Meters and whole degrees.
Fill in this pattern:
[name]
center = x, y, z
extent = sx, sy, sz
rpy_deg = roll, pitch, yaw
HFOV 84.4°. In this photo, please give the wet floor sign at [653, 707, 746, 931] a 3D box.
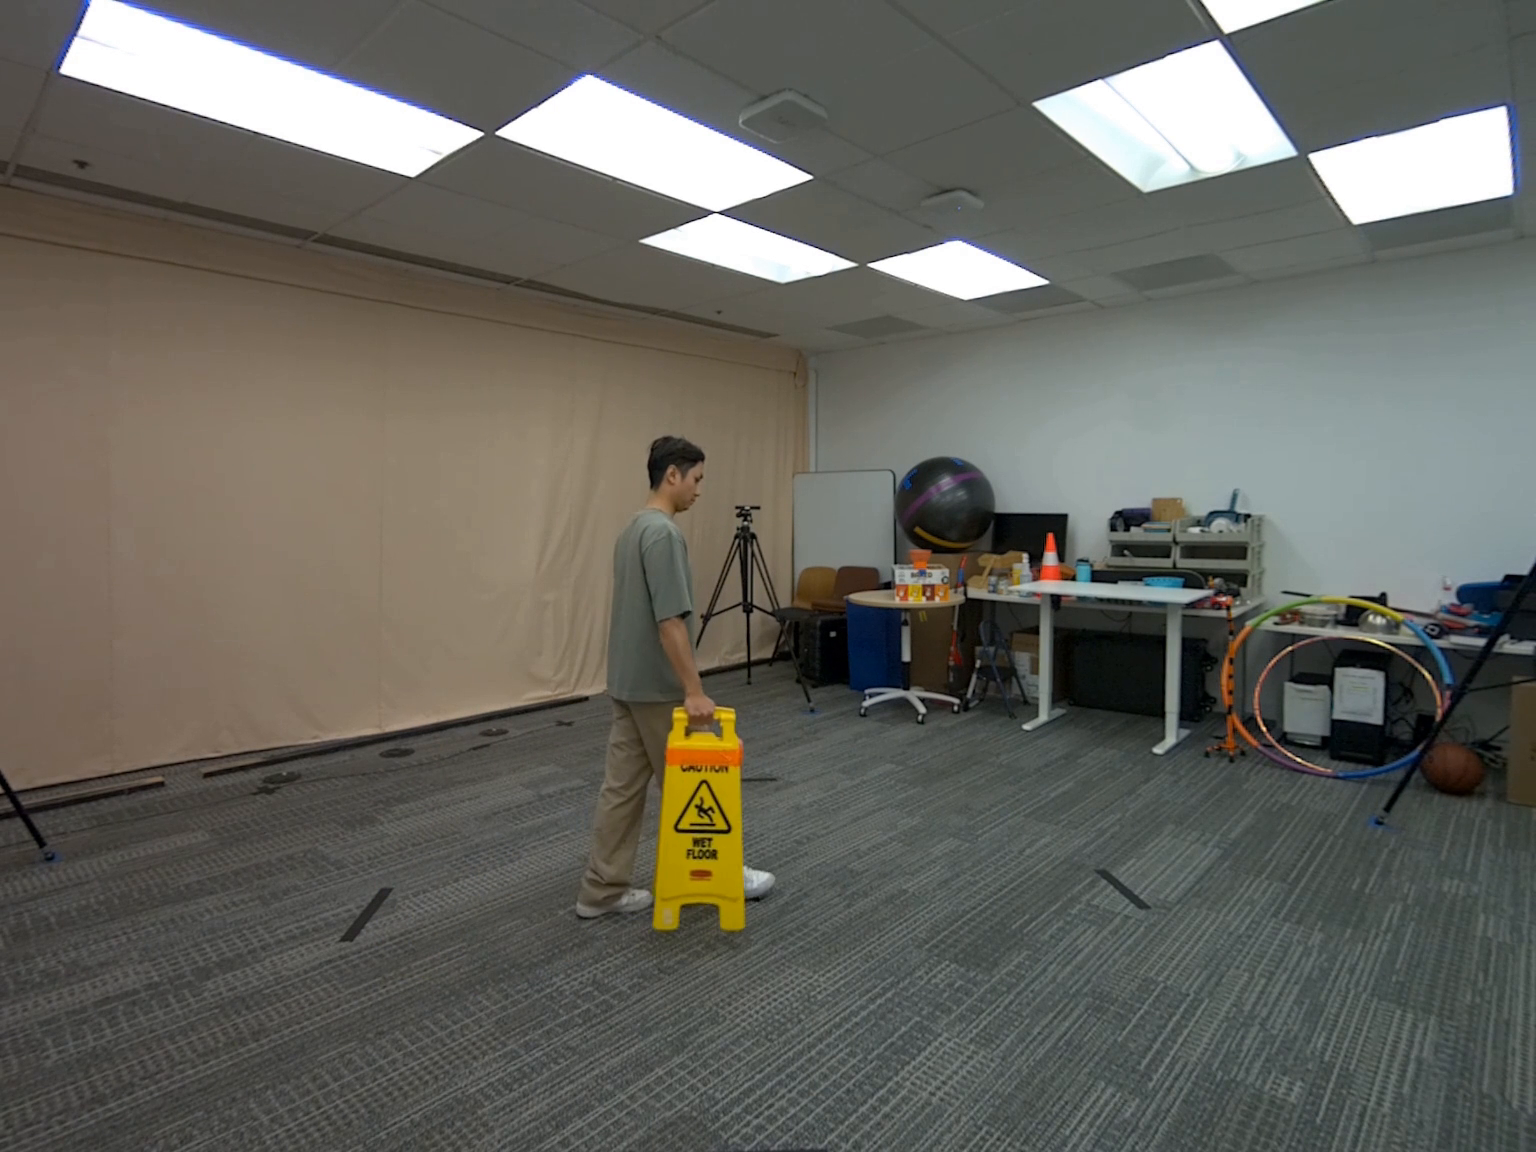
[wet floor sign]
center = -0.220, 0.749, 2.662
extent = 0.281, 0.646, 0.291
rpy_deg = 2, 1, -6
